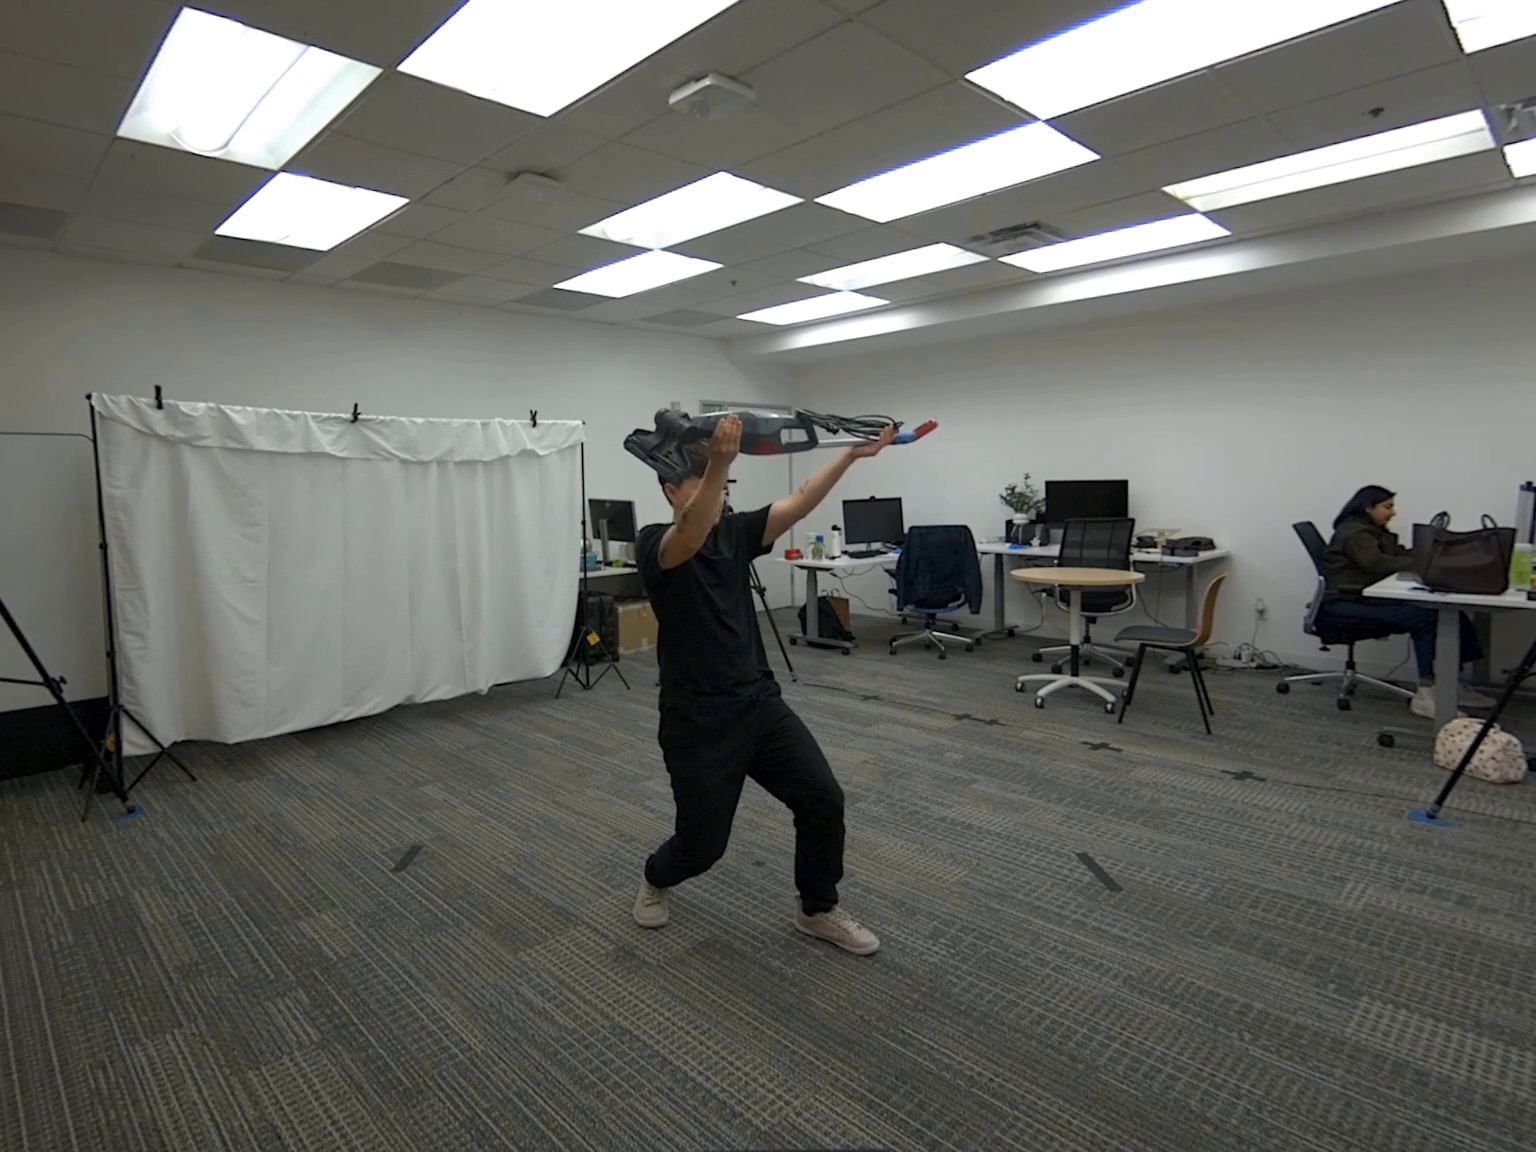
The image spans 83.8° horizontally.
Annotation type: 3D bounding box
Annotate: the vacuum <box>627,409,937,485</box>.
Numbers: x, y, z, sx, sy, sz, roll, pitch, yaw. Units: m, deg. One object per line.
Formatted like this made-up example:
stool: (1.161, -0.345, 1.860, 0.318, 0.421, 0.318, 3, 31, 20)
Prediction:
vacuum: (0.141, -0.414, 2.423, 1.026, 0.141, 0.262, -12, 32, -38)
